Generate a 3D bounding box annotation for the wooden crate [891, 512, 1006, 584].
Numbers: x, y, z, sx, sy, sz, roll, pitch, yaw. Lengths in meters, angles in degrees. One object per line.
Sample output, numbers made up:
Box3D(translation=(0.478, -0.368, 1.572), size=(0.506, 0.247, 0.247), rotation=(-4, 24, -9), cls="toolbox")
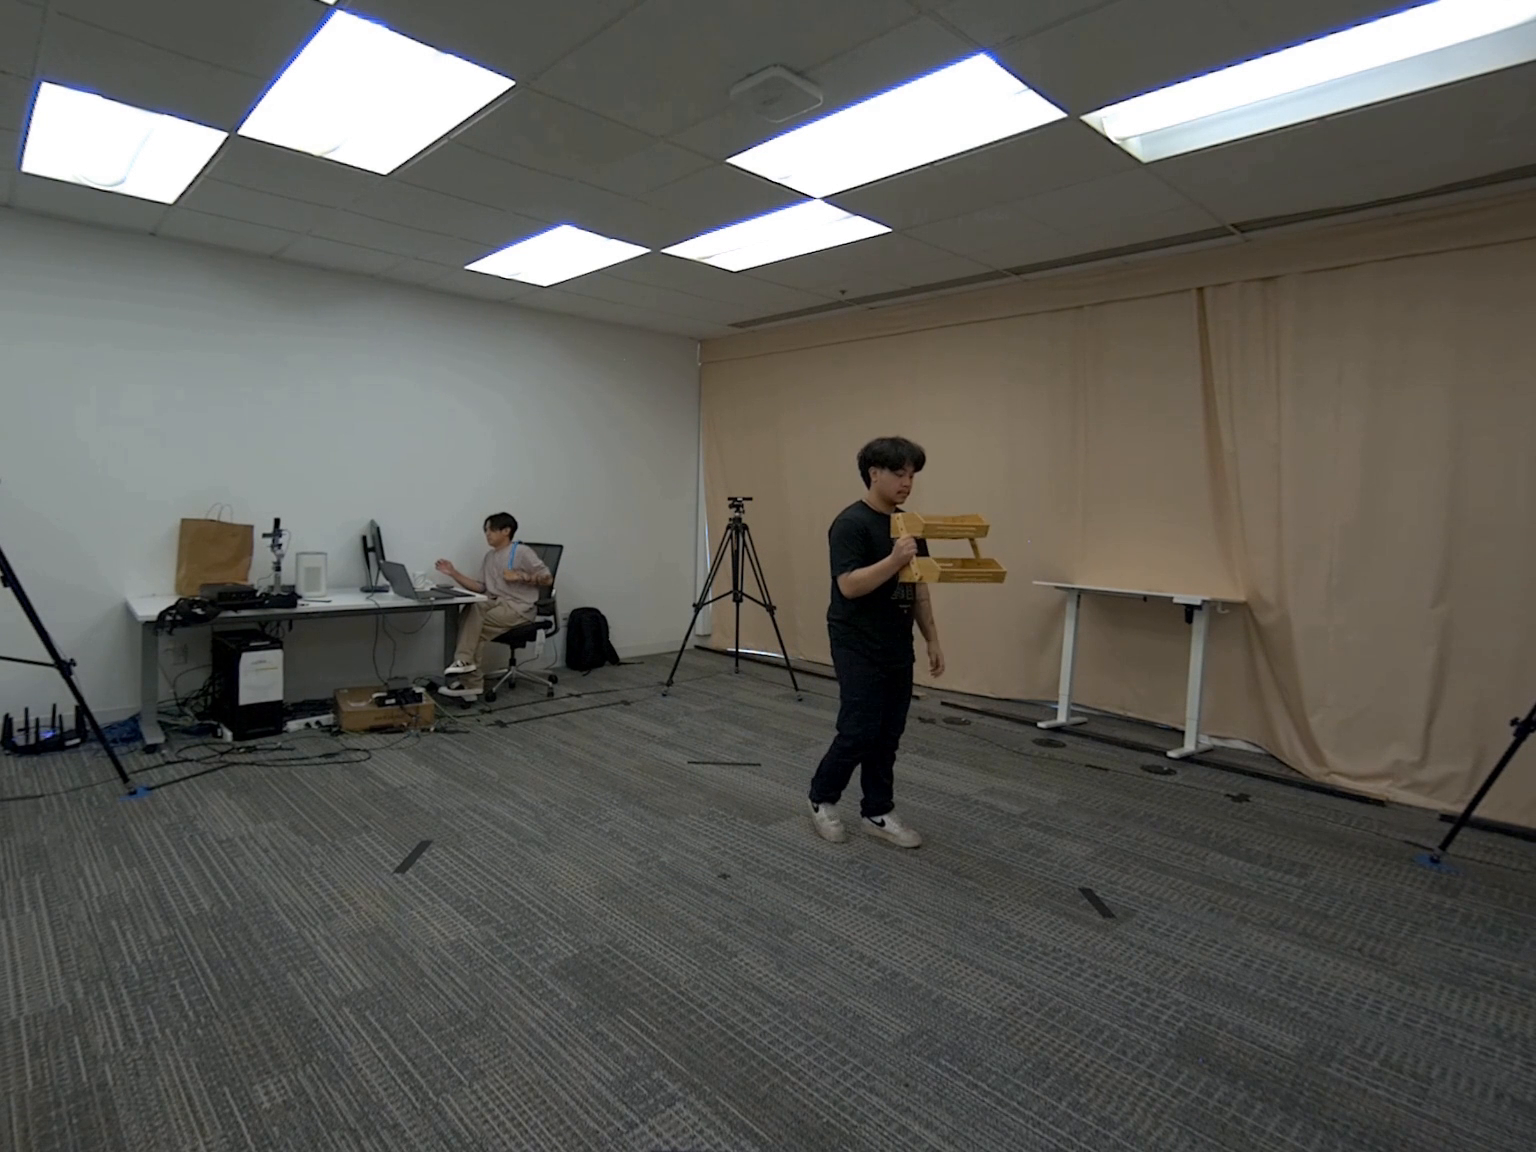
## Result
Box3D(translation=(0.656, -0.113, 3.159), size=(0.318, 0.274, 0.307), rotation=(1, -1, -26), cls="wooden crate")
